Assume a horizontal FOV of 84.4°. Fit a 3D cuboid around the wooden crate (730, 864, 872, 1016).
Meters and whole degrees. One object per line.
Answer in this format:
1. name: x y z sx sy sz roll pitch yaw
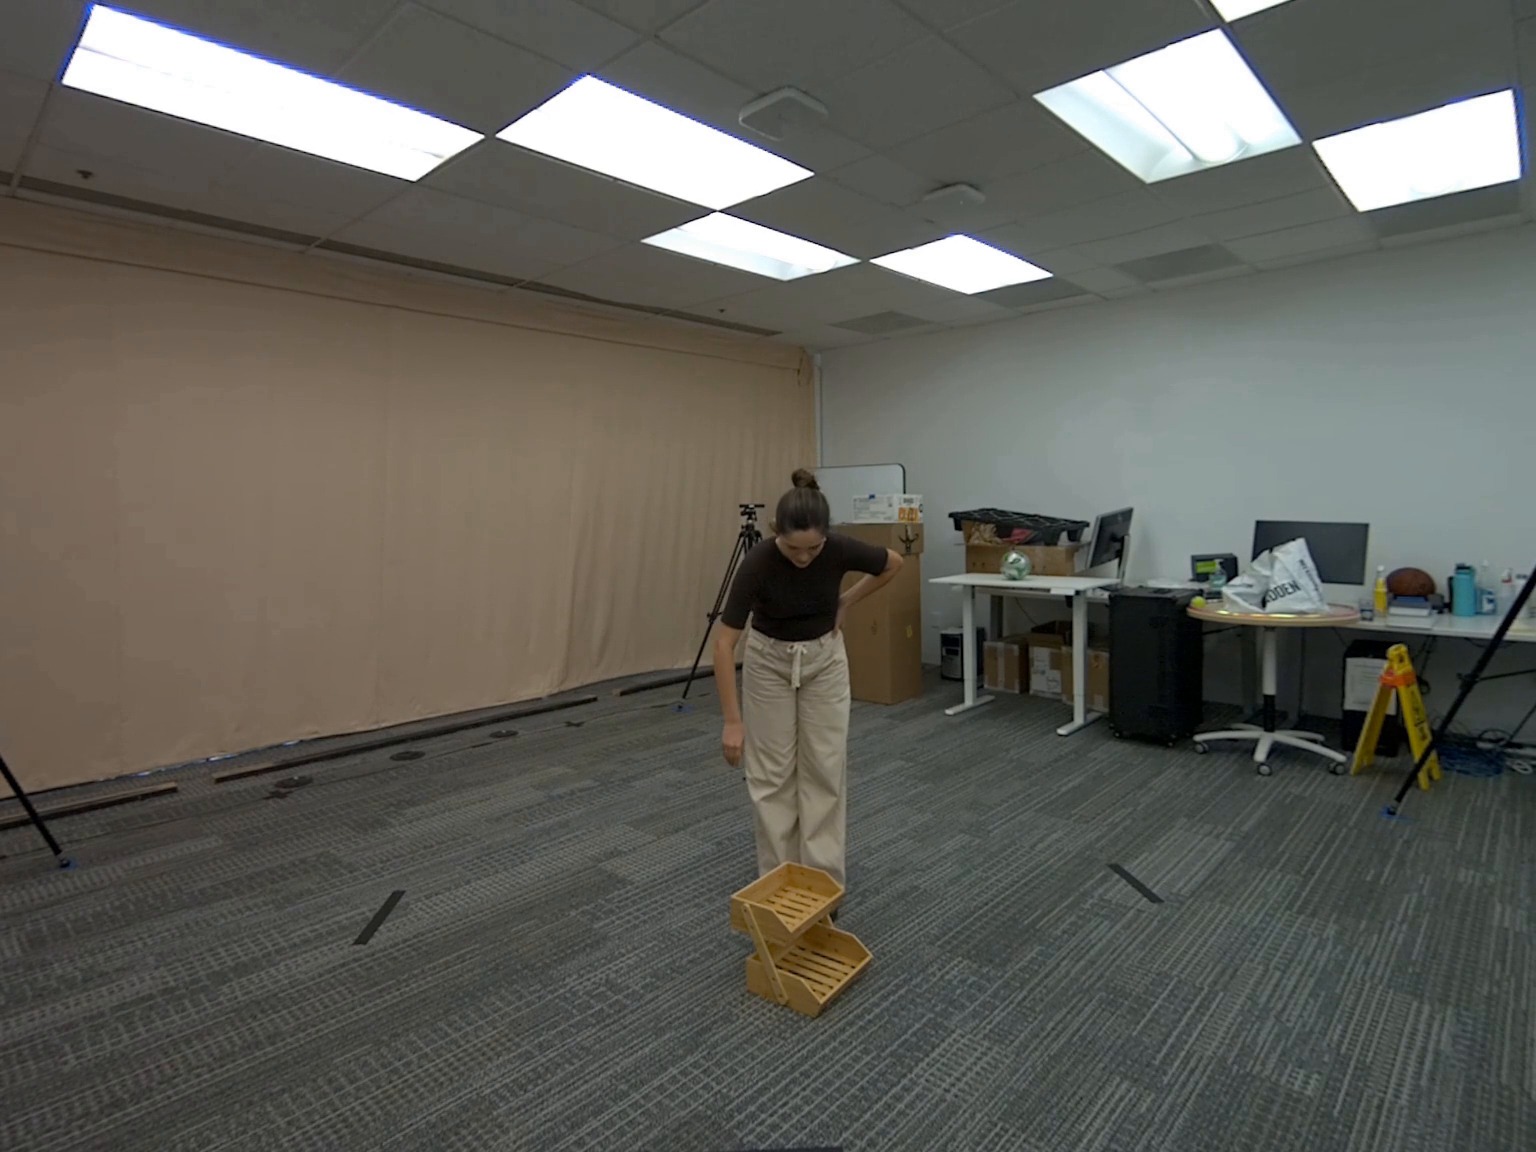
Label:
1. wooden crate: 0.106 1.042 2.472 0.311 0.273 0.315 1 4 36
